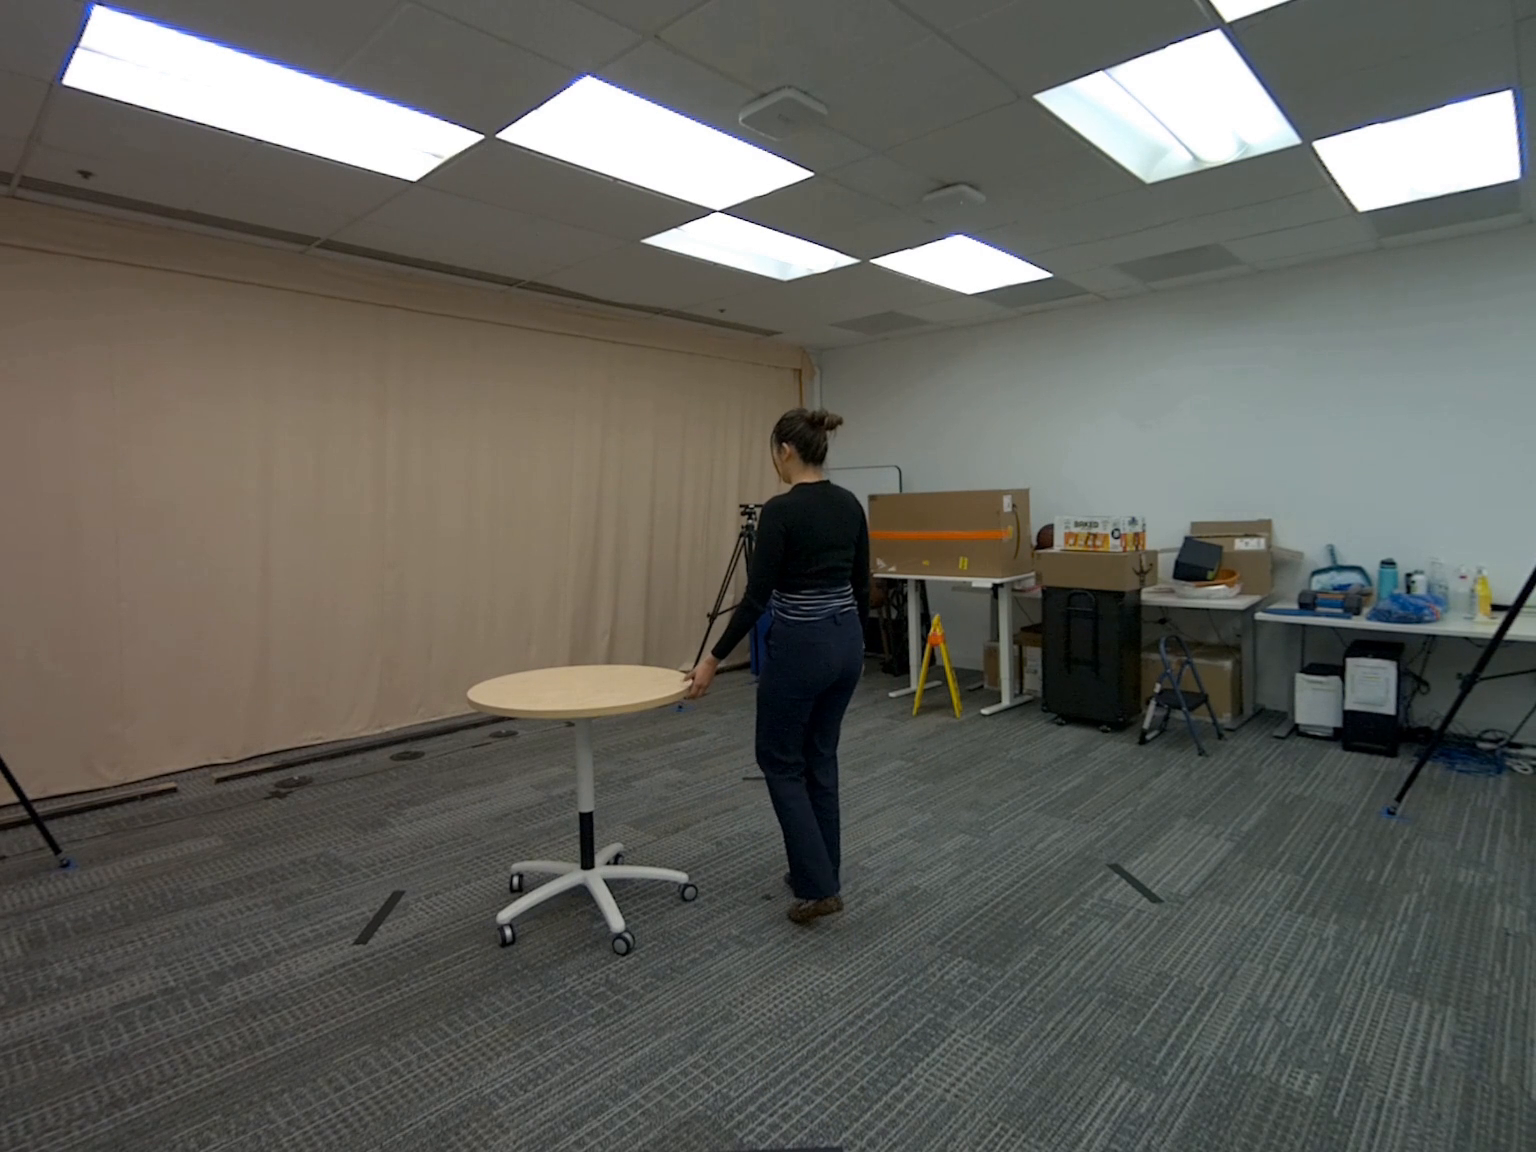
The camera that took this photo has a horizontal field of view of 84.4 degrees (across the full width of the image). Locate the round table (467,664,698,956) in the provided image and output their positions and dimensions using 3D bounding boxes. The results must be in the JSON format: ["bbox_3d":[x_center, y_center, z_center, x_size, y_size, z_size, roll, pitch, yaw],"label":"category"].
[{"bbox_3d":[-0.633,0.774,2.921,0.763,0.792,0.766,-2,3,-2],"label":"round table"}]
